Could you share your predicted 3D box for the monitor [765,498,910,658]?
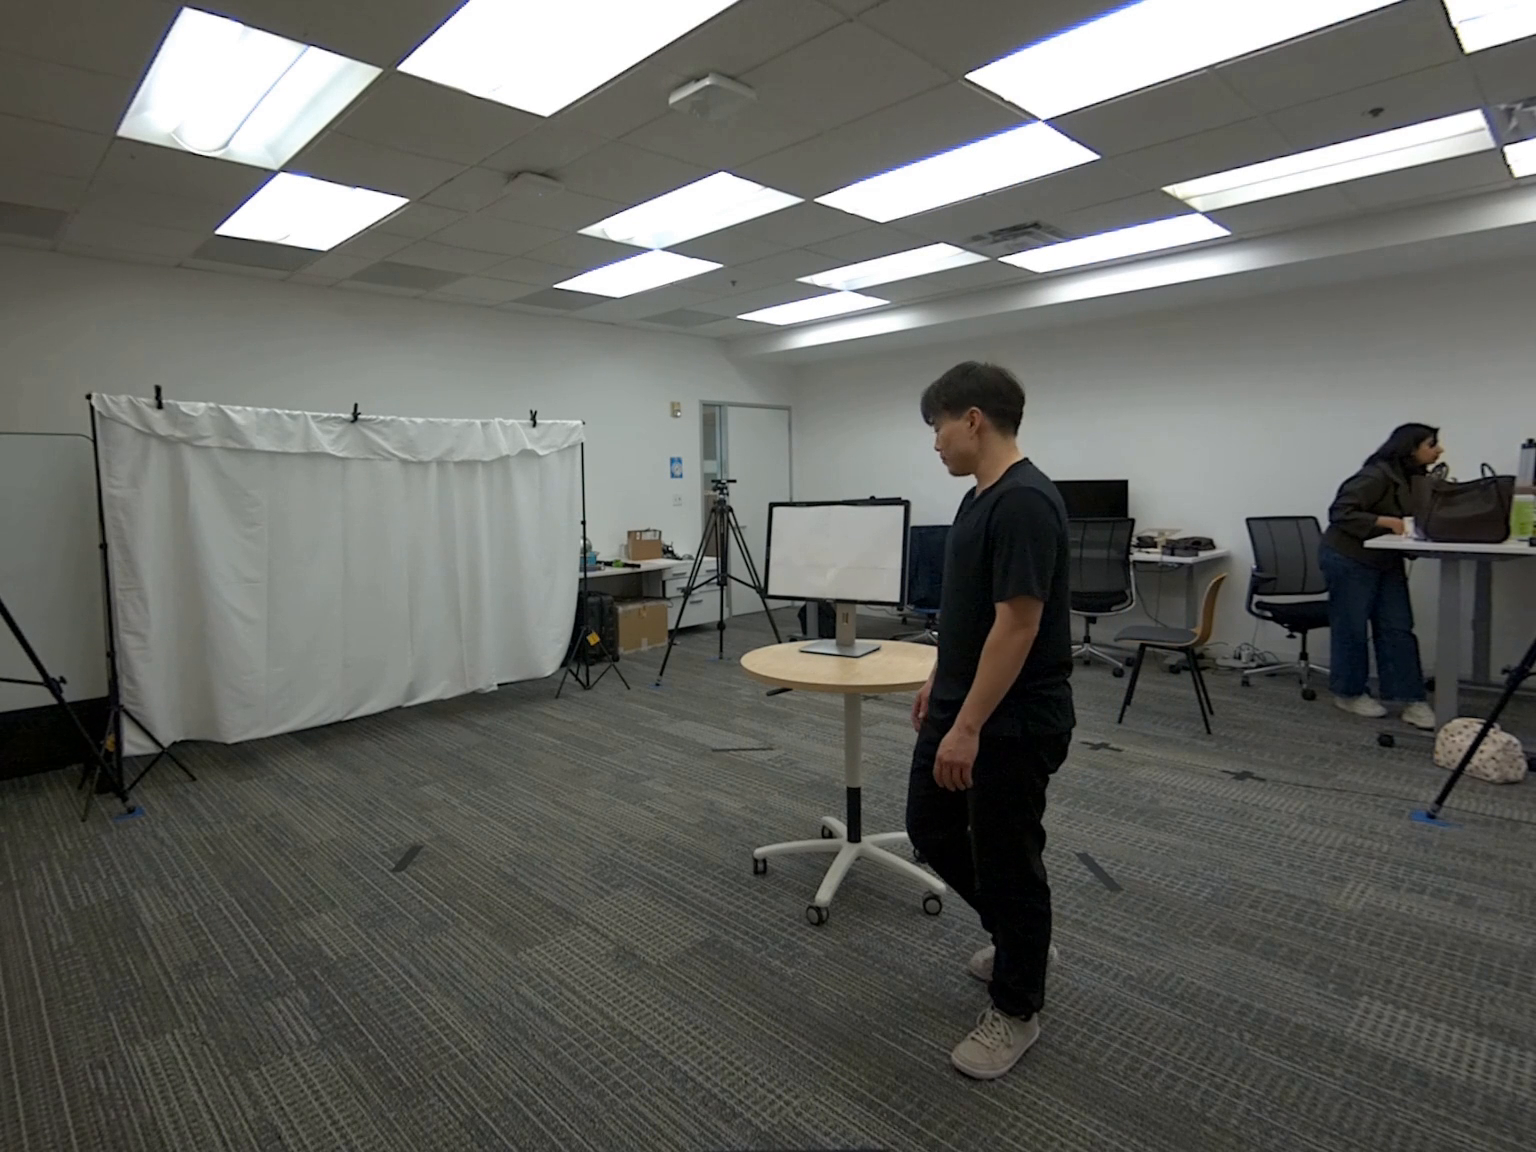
[{"bbox_3d":[0.259,0.007,3.077,0.553,0.520,0.183,1,5,32],"label":"monitor"}]
